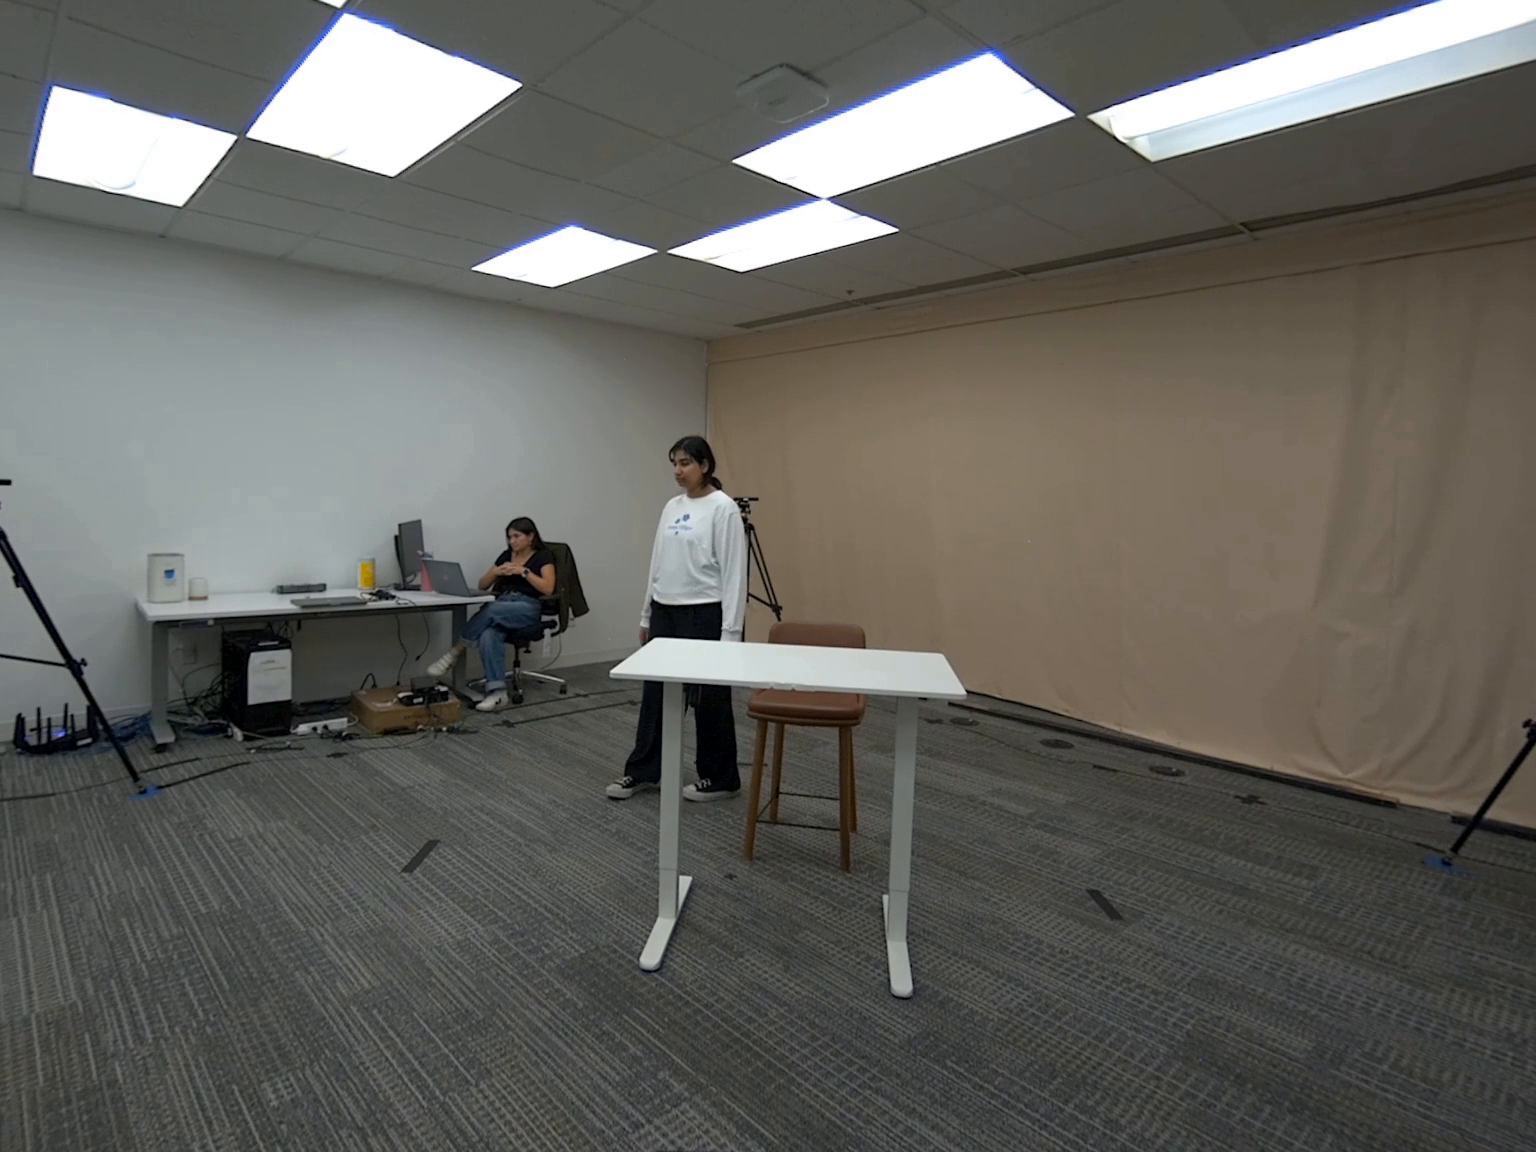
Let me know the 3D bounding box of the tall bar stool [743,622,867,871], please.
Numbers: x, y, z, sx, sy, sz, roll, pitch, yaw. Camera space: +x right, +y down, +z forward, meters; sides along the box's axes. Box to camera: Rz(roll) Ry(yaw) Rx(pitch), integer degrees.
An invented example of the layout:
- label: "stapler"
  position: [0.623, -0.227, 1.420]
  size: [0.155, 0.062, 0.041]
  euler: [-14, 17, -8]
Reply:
- label: "tall bar stool"
  position: [0.155, 0.655, 3.400]
  size: [0.462, 0.889, 0.462]
  euler: [2, 1, 14]
